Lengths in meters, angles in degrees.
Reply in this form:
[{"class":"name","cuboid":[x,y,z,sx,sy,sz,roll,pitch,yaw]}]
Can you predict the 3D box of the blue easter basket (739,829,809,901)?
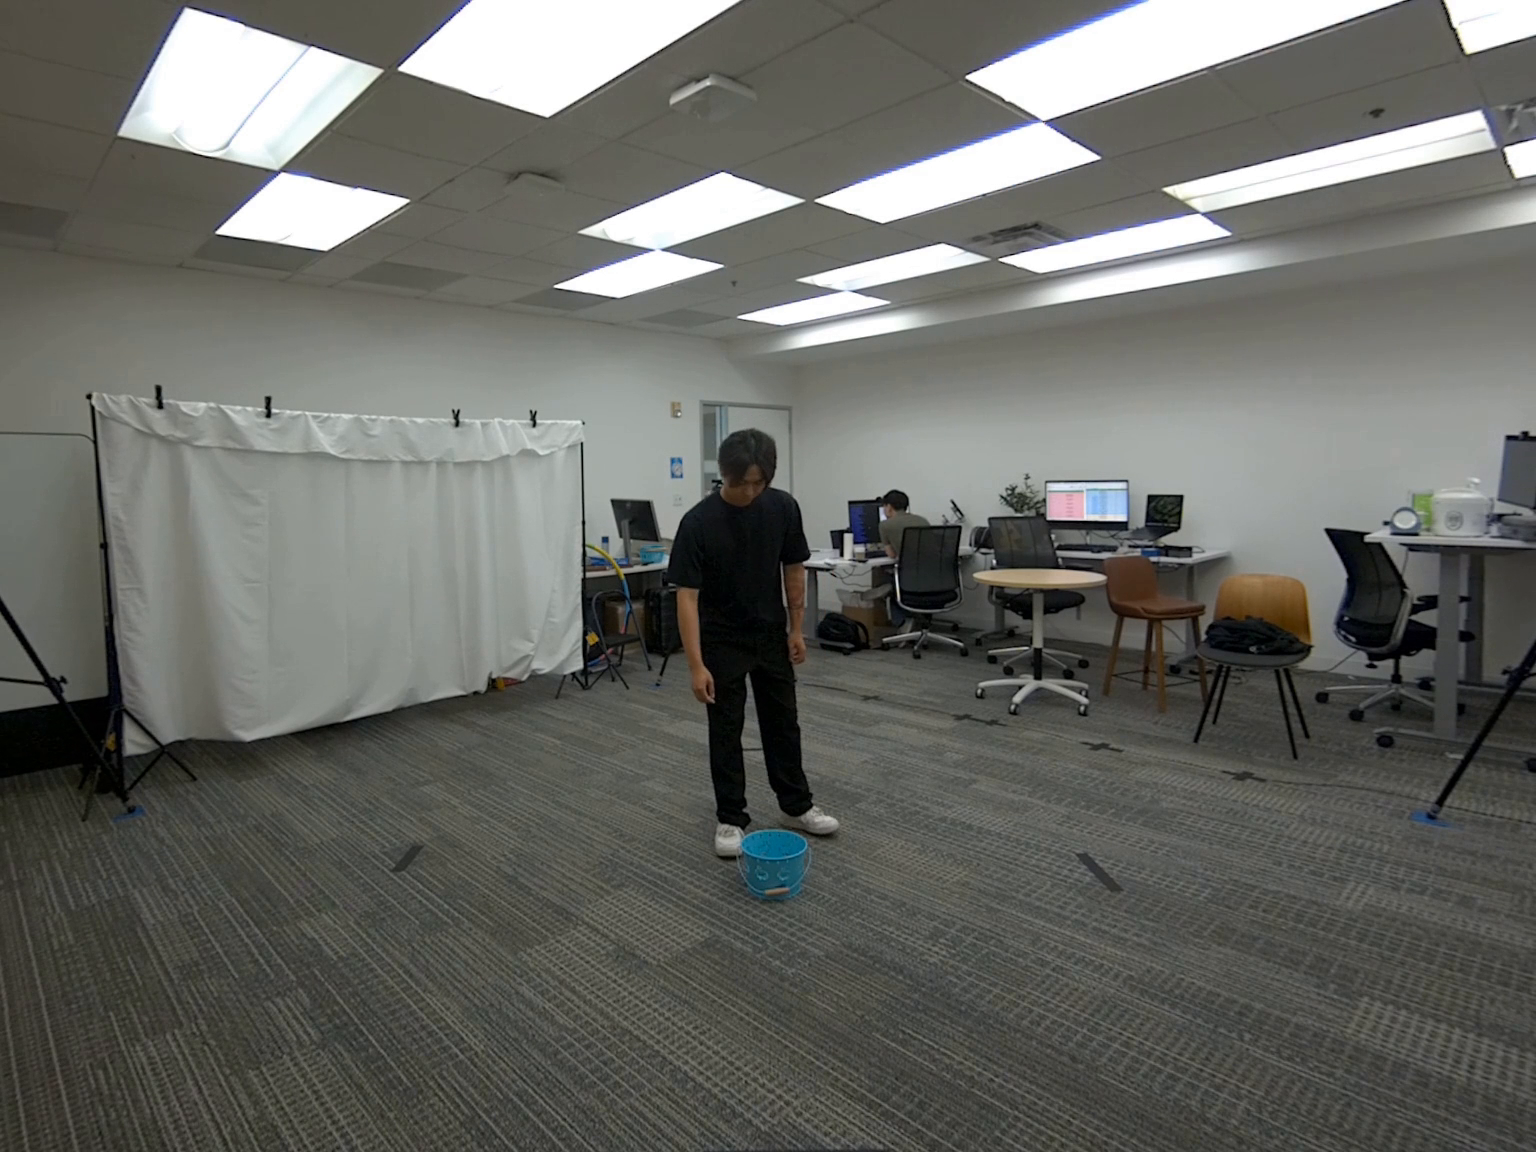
[{"class":"blue easter basket","cuboid":[0.021,0.989,2.924,0.243,0.155,0.245,-1,6,-2]}]
